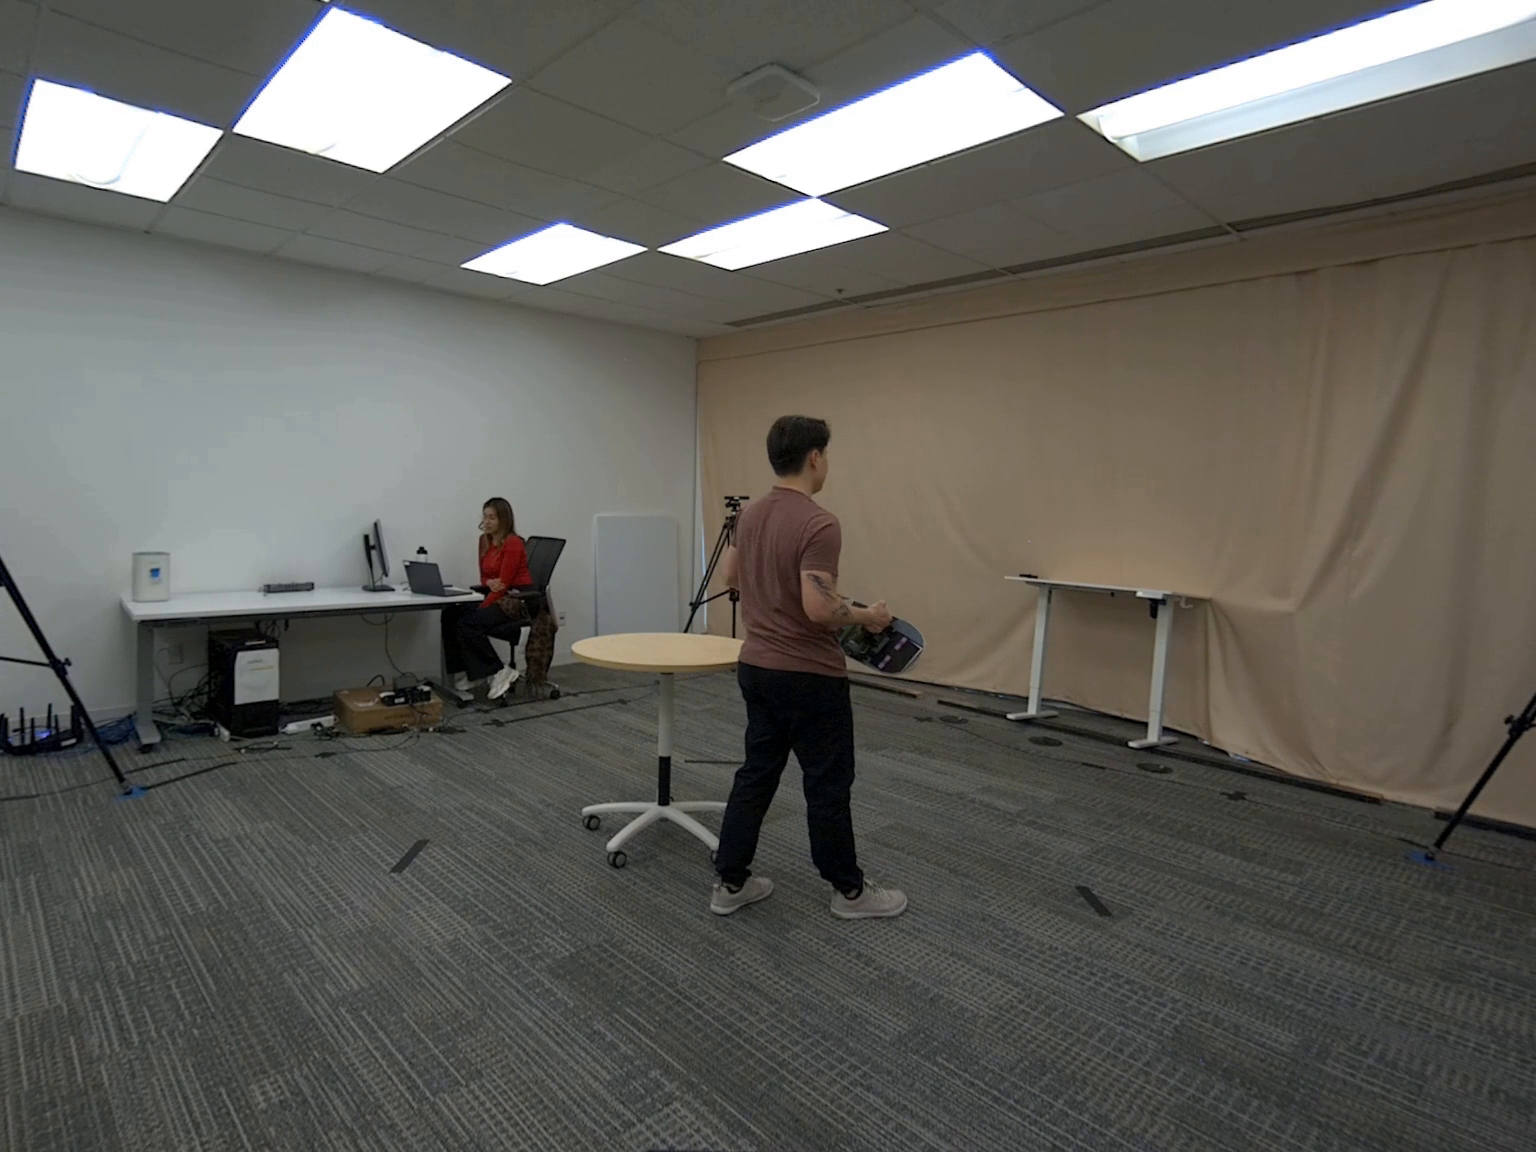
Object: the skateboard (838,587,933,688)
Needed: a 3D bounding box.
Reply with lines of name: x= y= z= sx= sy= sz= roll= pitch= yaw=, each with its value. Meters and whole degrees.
skateboard: x=0.232 y=0.151 z=2.946 sx=0.107 sy=0.193 sz=0.806 roll=41 pitch=-8 yaw=-29
